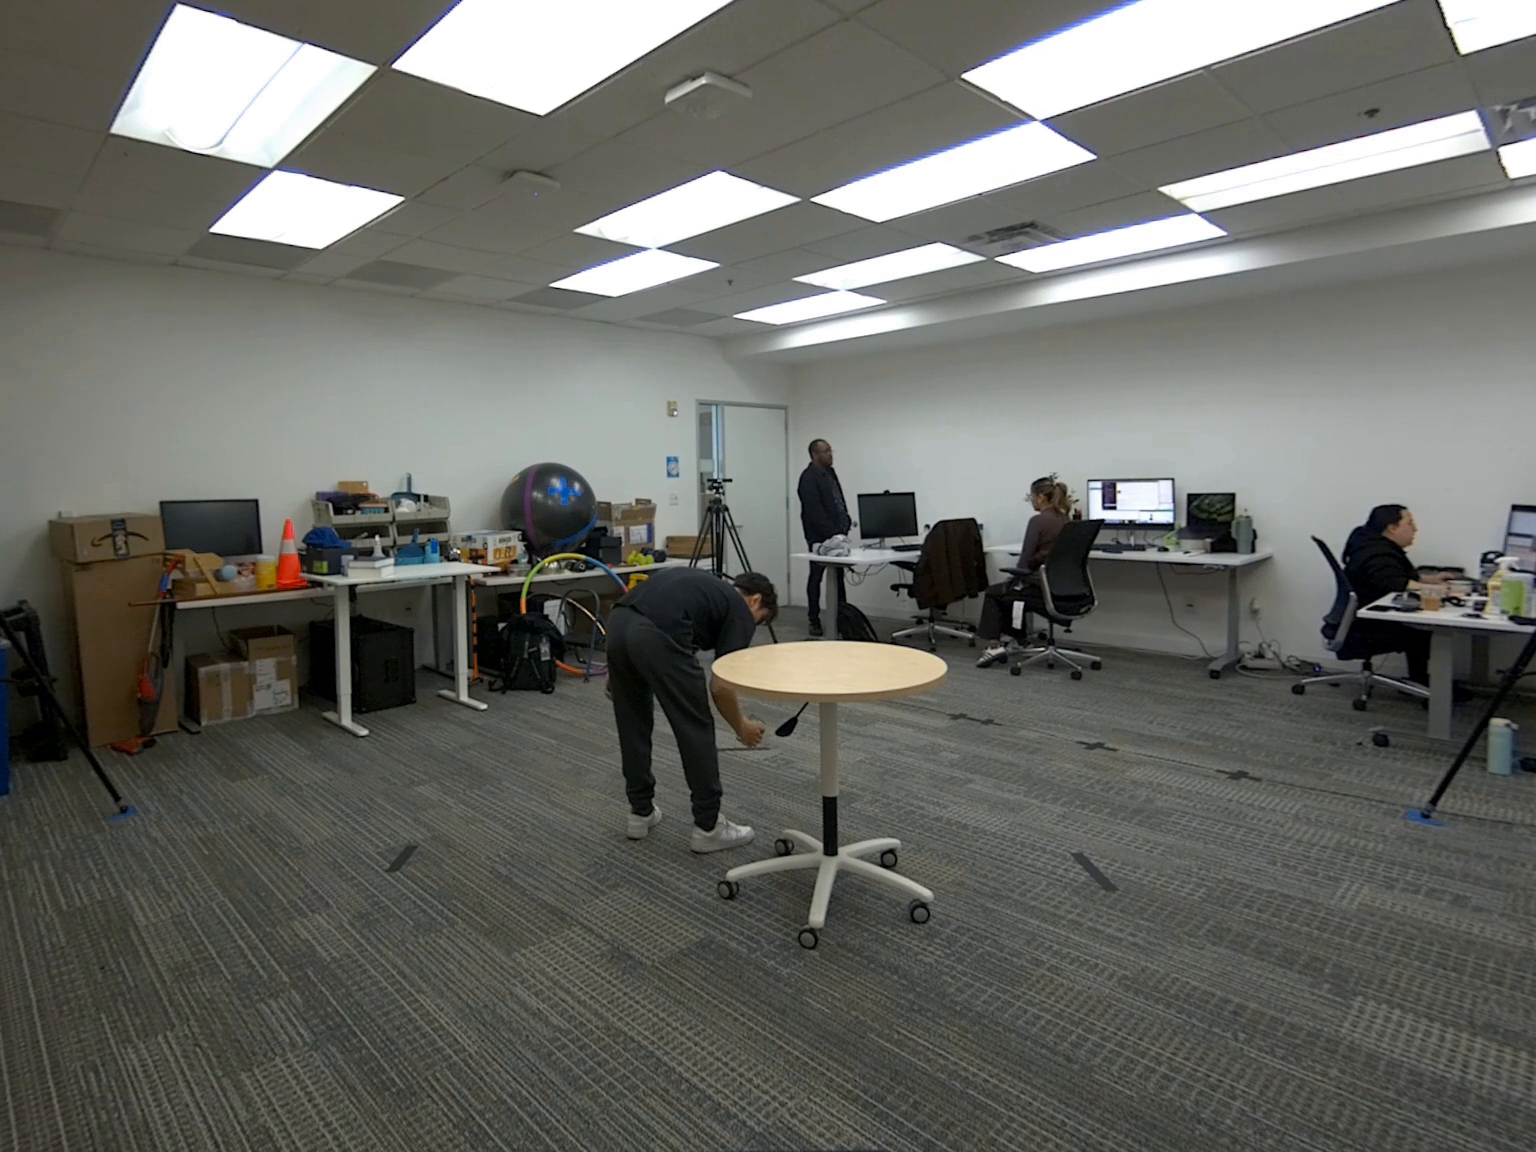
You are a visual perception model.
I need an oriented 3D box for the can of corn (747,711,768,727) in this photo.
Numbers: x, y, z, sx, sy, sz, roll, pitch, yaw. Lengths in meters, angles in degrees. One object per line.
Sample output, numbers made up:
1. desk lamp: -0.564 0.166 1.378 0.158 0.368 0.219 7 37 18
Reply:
1. can of corn: -0.064 0.613 3.452 0.074 0.111 0.073 24 -10 3
